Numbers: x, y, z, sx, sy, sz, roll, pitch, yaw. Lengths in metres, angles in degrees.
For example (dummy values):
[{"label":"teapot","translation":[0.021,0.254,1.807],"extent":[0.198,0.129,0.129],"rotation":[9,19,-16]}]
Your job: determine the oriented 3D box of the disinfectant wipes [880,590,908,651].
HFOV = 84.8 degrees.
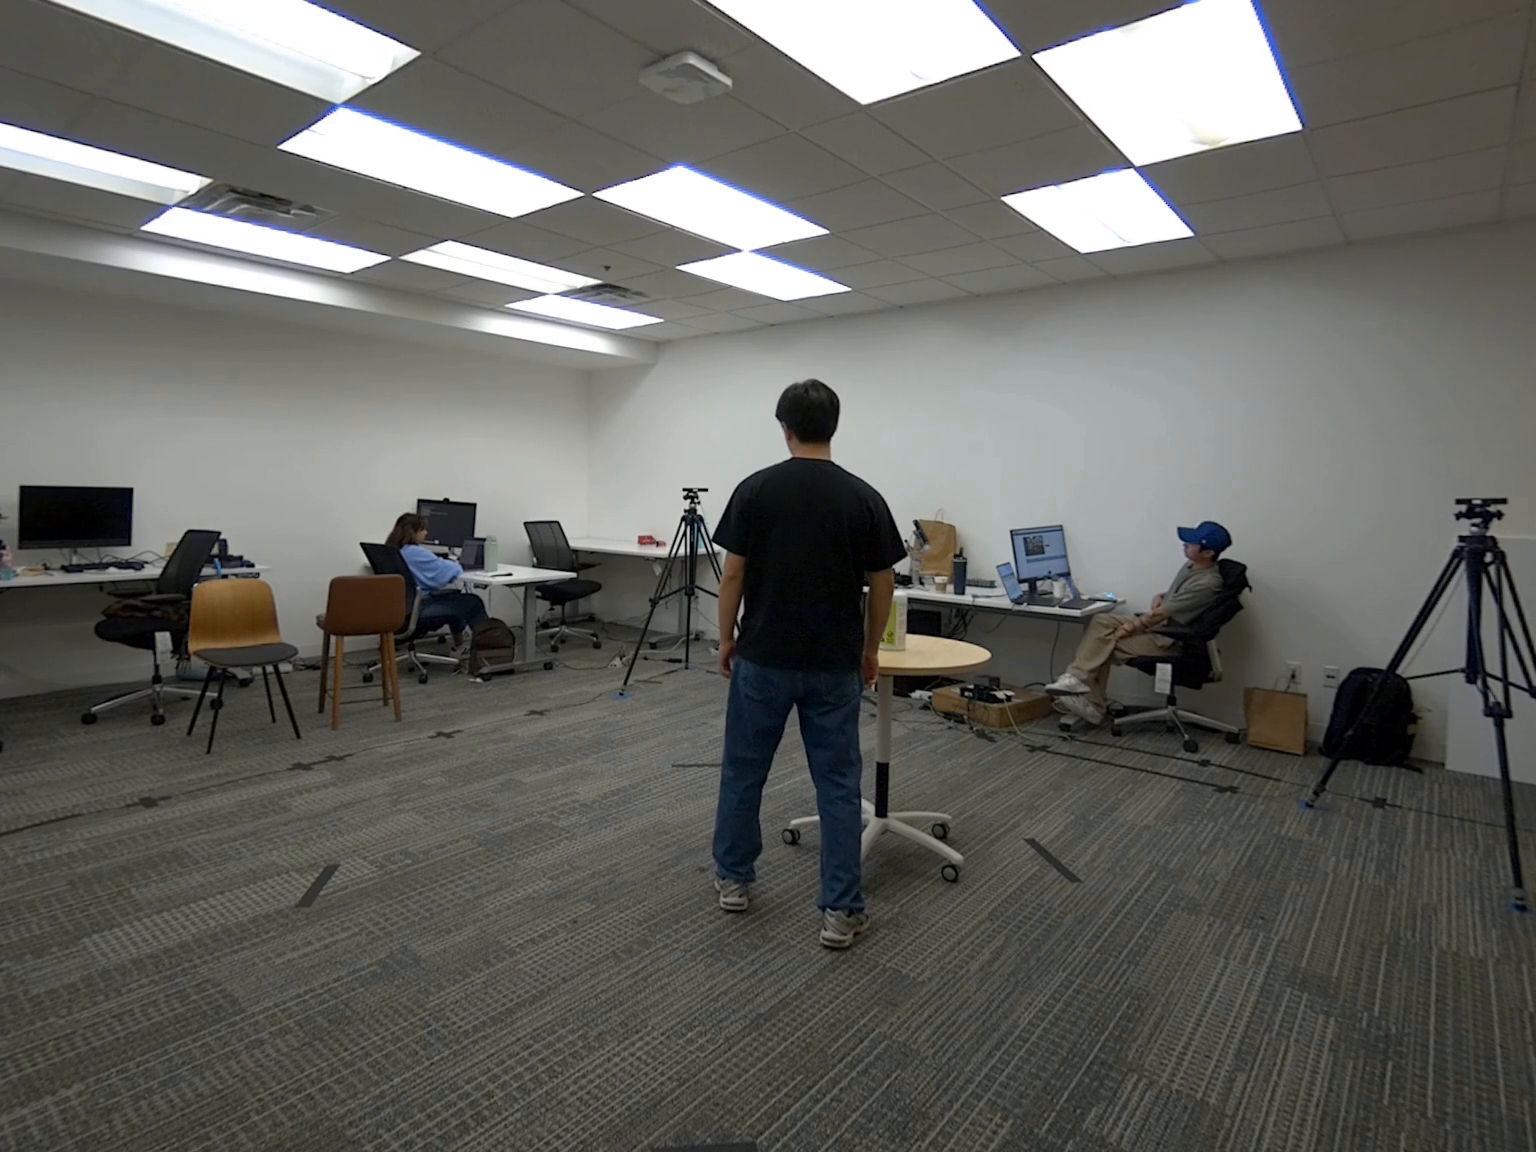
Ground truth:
[{"label":"disinfectant wipes","translation":[0.474,0.166,3.250],"extent":[0.118,0.217,0.118],"rotation":[0,2,-2]}]
